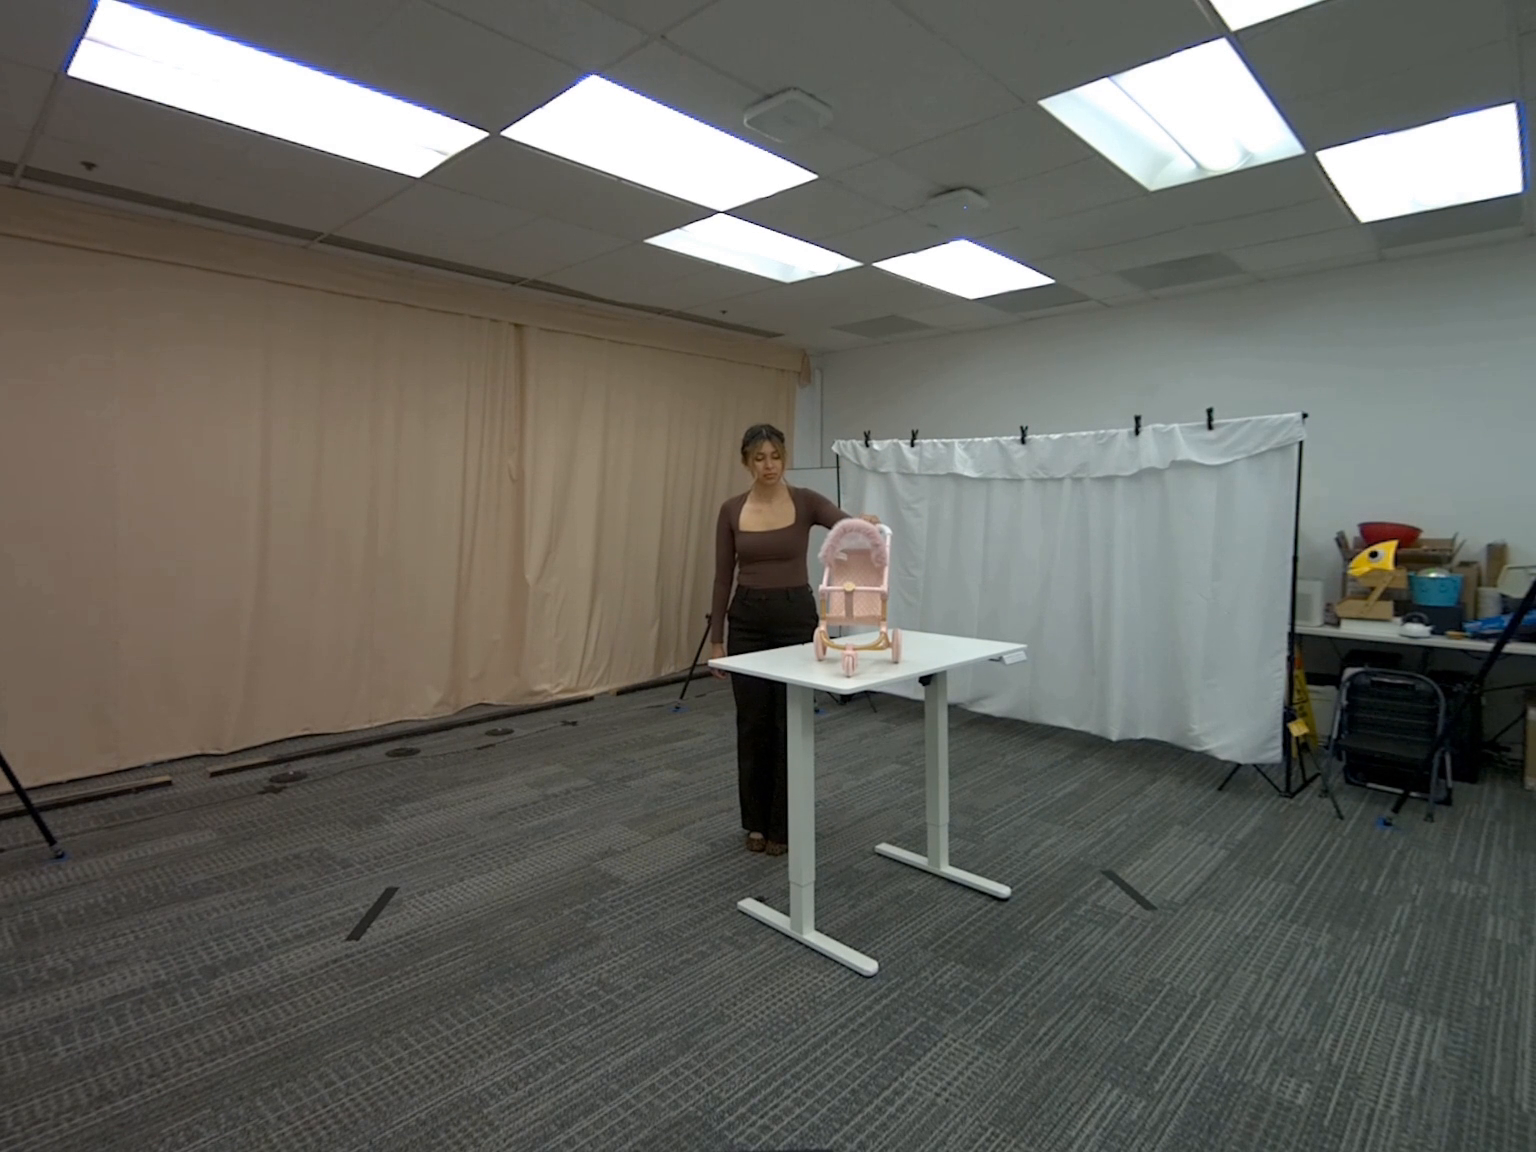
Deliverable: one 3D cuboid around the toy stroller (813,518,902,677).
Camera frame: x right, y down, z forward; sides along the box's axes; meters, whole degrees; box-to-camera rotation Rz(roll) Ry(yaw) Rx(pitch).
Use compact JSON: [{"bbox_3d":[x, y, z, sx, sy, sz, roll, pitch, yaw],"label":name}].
[{"bbox_3d":[0.286,0.065,2.674,0.287,0.538,0.333,-1,-11,17],"label":"toy stroller"}]
